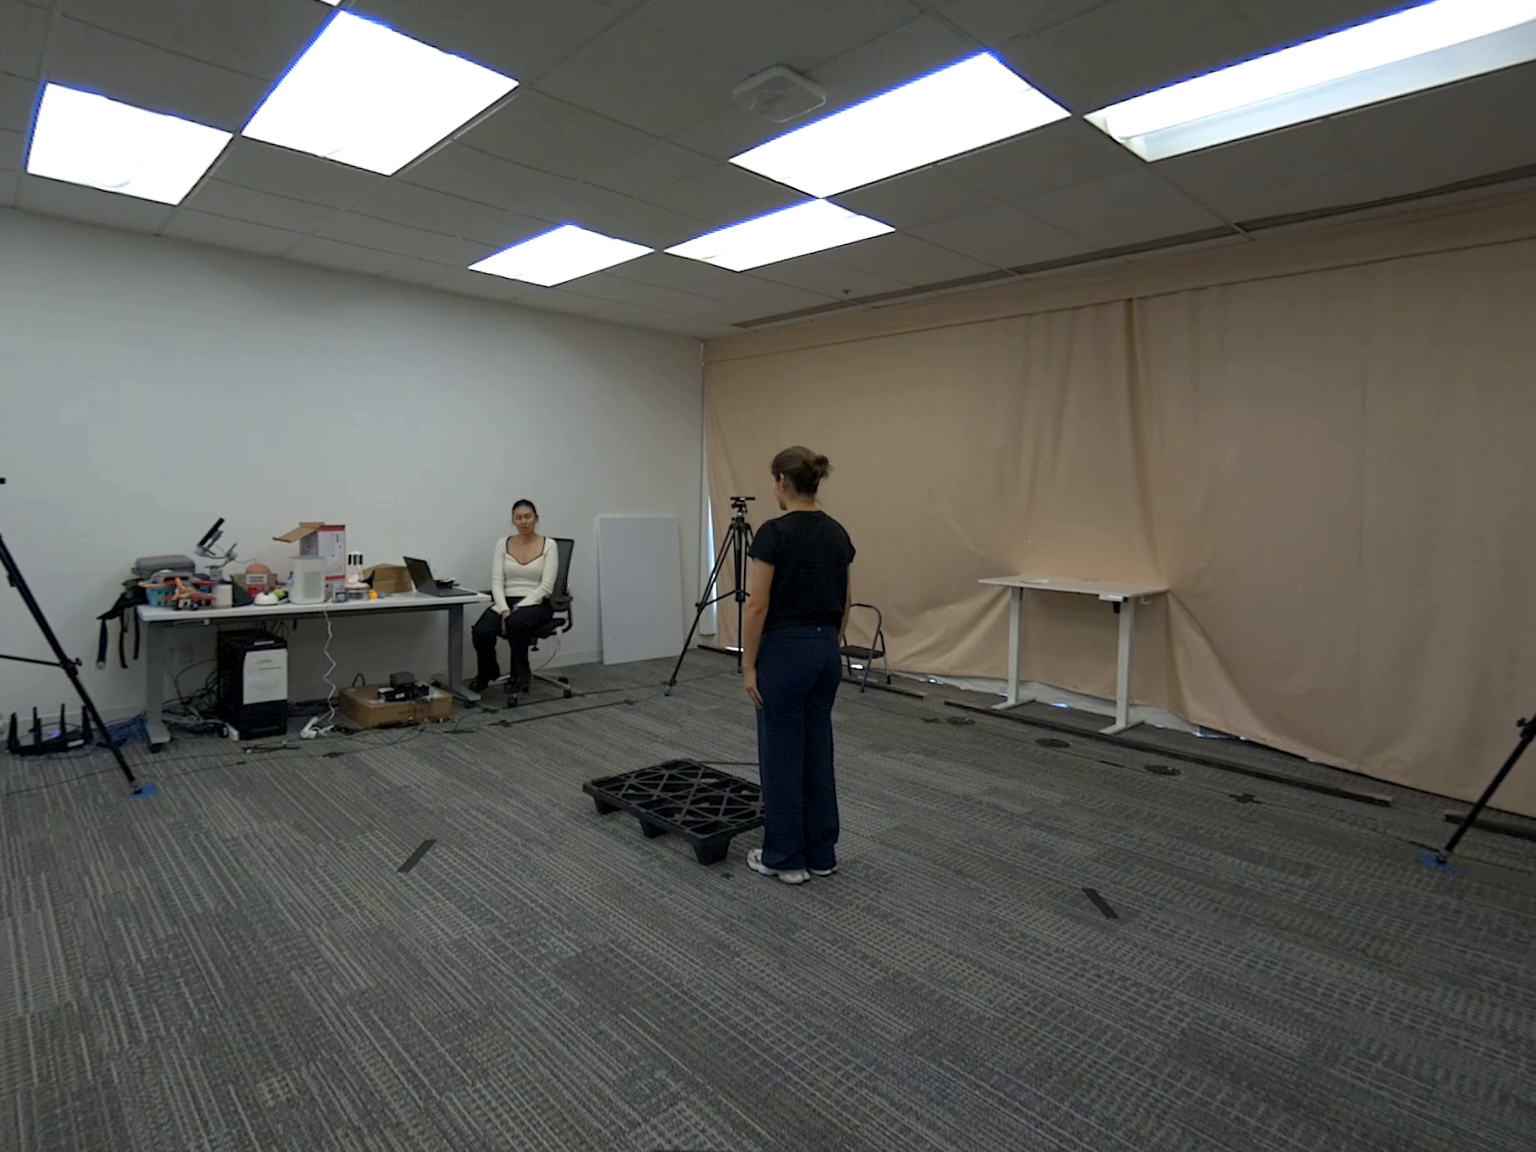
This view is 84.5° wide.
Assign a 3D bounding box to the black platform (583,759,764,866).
[{"bbox_3d":[-0.334,0.997,3.584,0.591,0.143,0.826,-4,7,-45],"label":"black platform"}]
